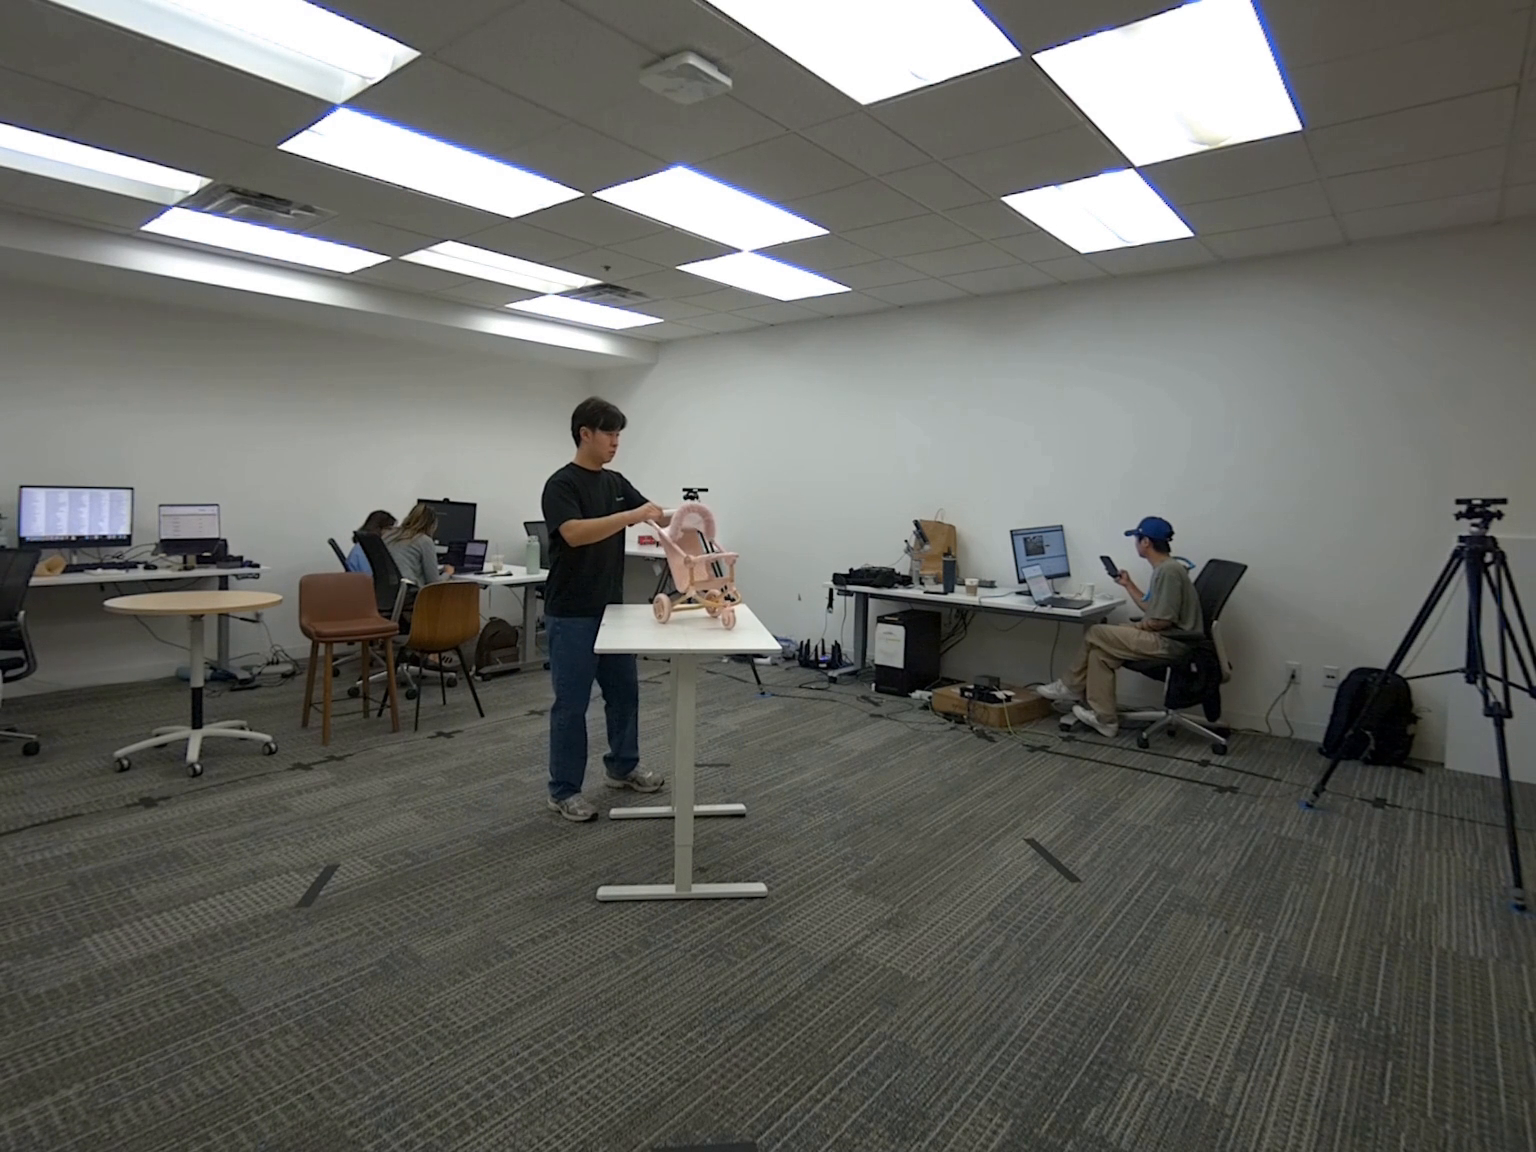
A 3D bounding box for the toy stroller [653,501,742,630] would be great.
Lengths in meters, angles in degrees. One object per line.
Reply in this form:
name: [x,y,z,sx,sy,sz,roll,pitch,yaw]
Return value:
toy stroller: [-0.279,-0.049,3.216,0.273,0.541,0.347,-3,-12,-35]
